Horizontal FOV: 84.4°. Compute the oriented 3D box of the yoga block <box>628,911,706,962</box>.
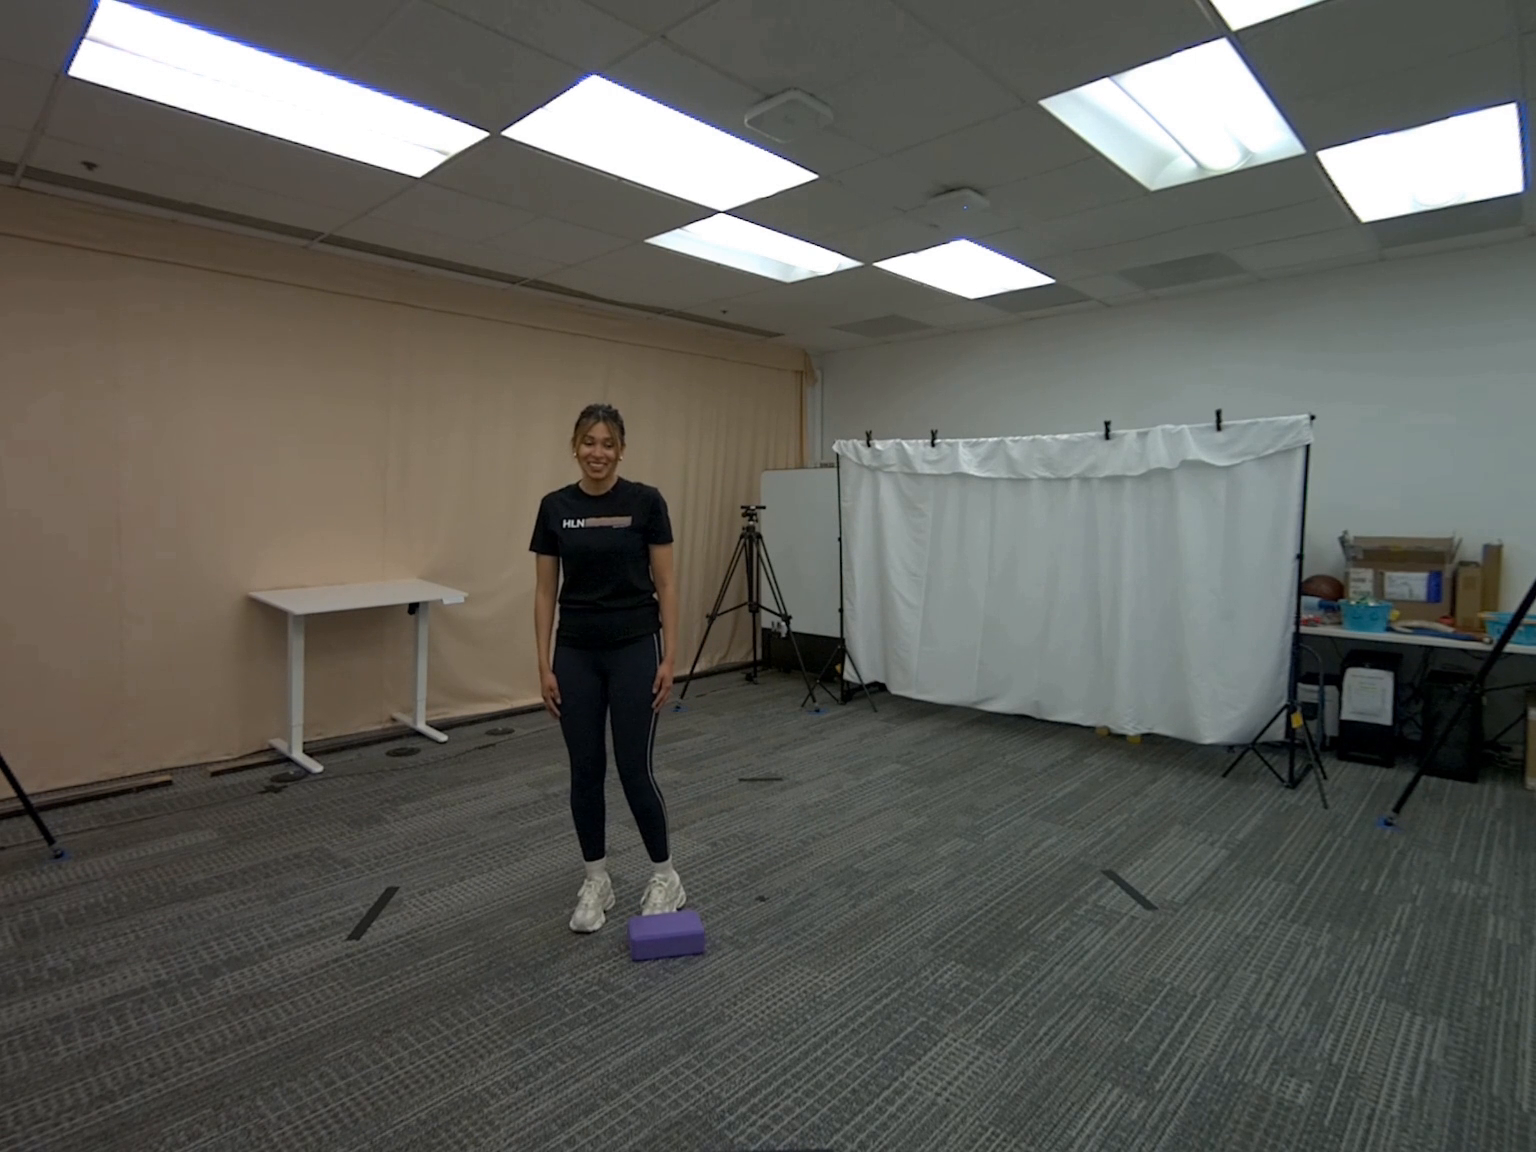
[{"bbox_3d":[-0.323,1.132,2.652,0.226,0.076,0.151,0,5,-12],"label":"yoga block"}]
